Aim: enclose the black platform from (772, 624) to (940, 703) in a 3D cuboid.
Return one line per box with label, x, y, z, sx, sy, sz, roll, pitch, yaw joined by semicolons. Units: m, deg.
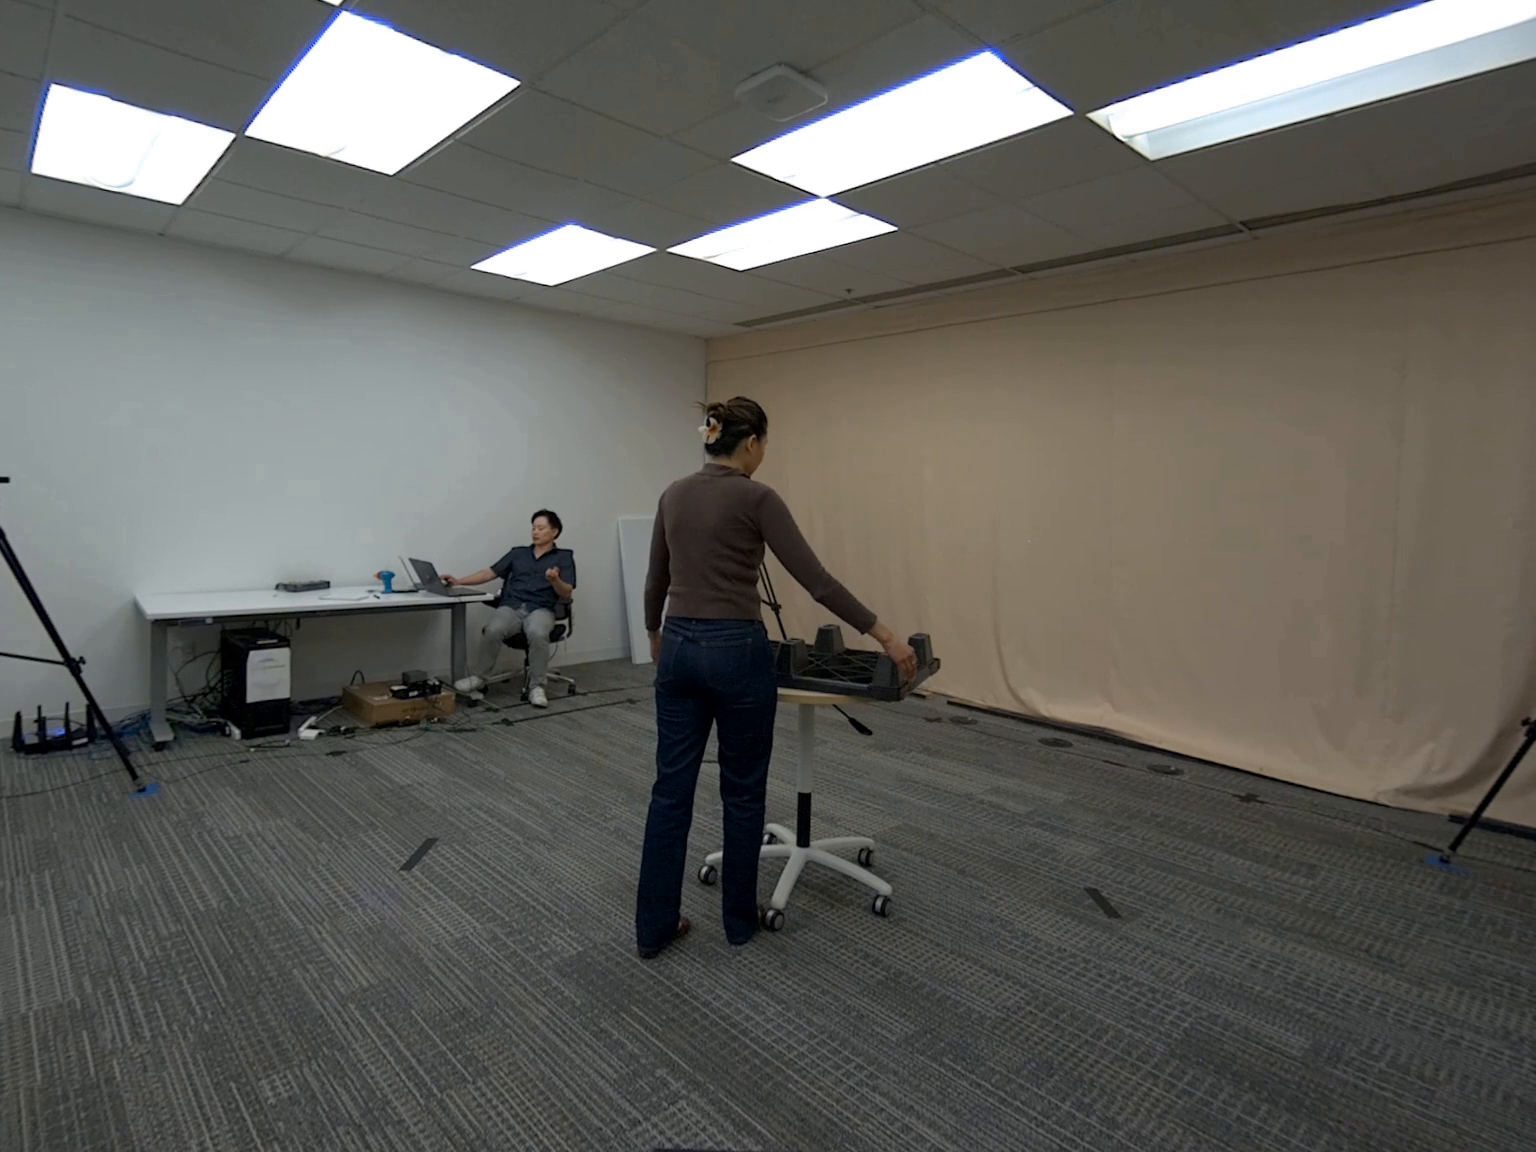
black platform;0.142;0.274;2.987;0.821;0.143;0.595;3;6;25
